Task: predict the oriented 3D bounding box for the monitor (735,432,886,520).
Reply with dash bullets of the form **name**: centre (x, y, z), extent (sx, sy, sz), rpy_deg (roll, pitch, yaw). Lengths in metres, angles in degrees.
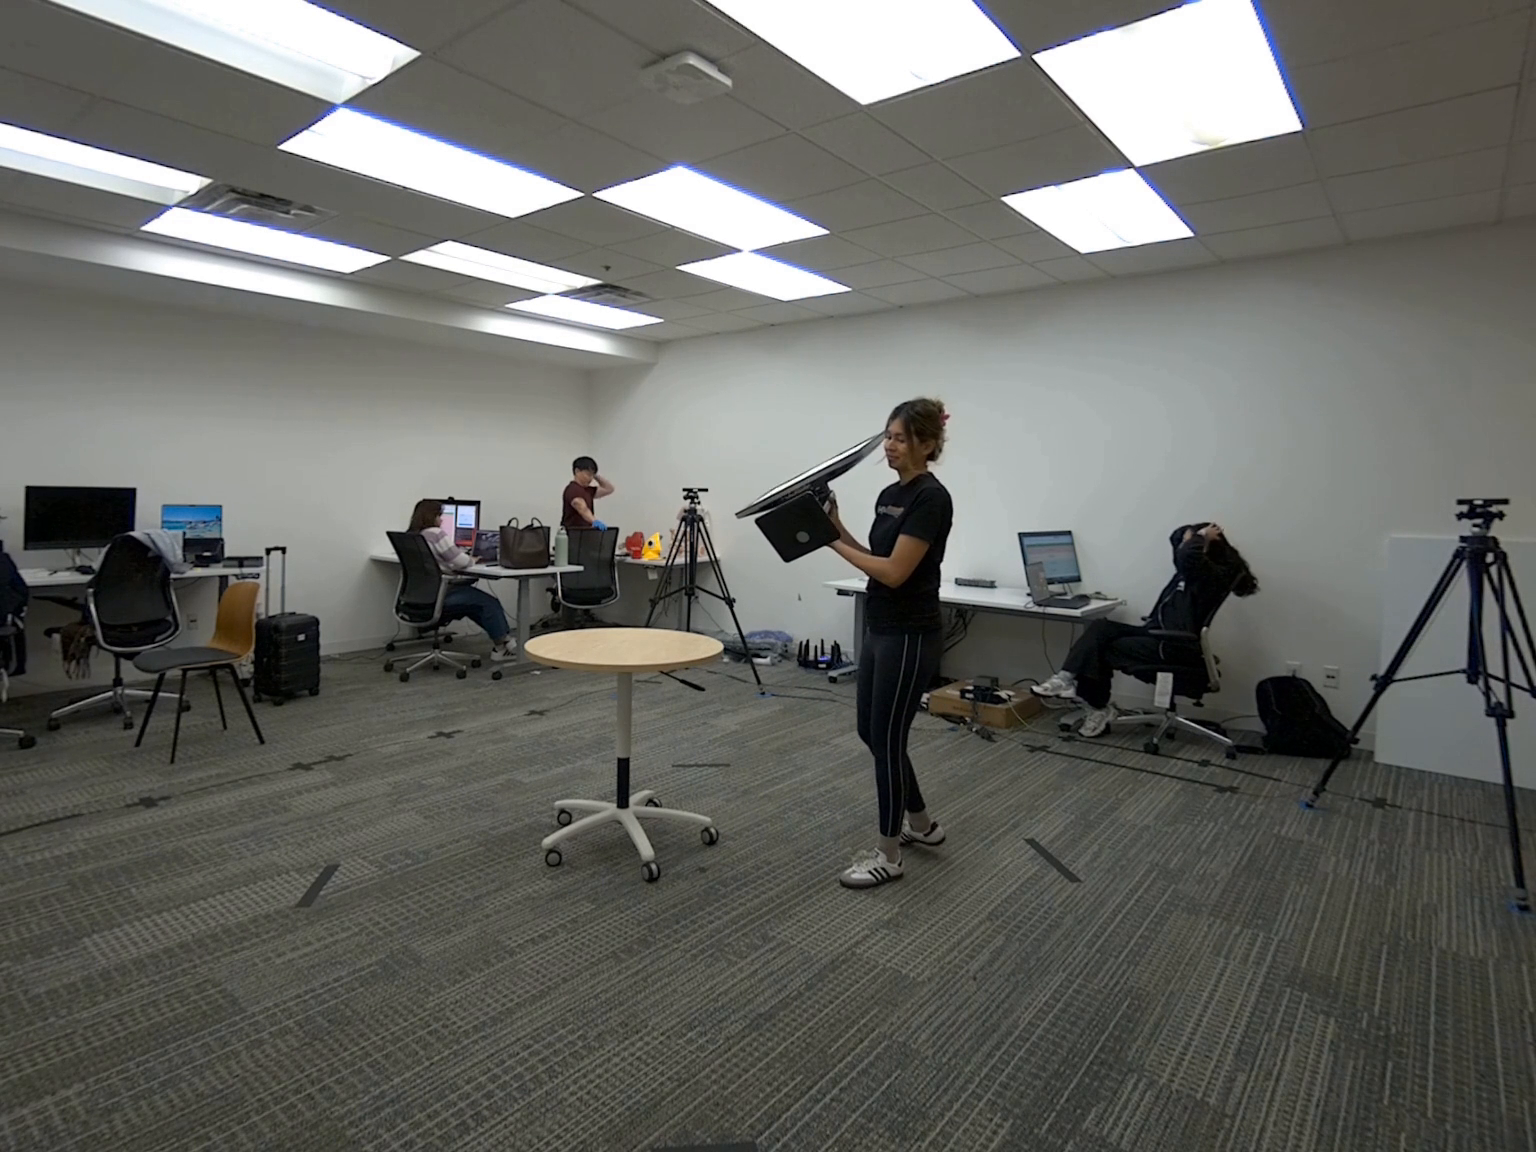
- **monitor**: centre (0.146, -0.313, 3.160), extent (0.547, 0.182, 0.527), rpy_deg (-22, 23, 29)
